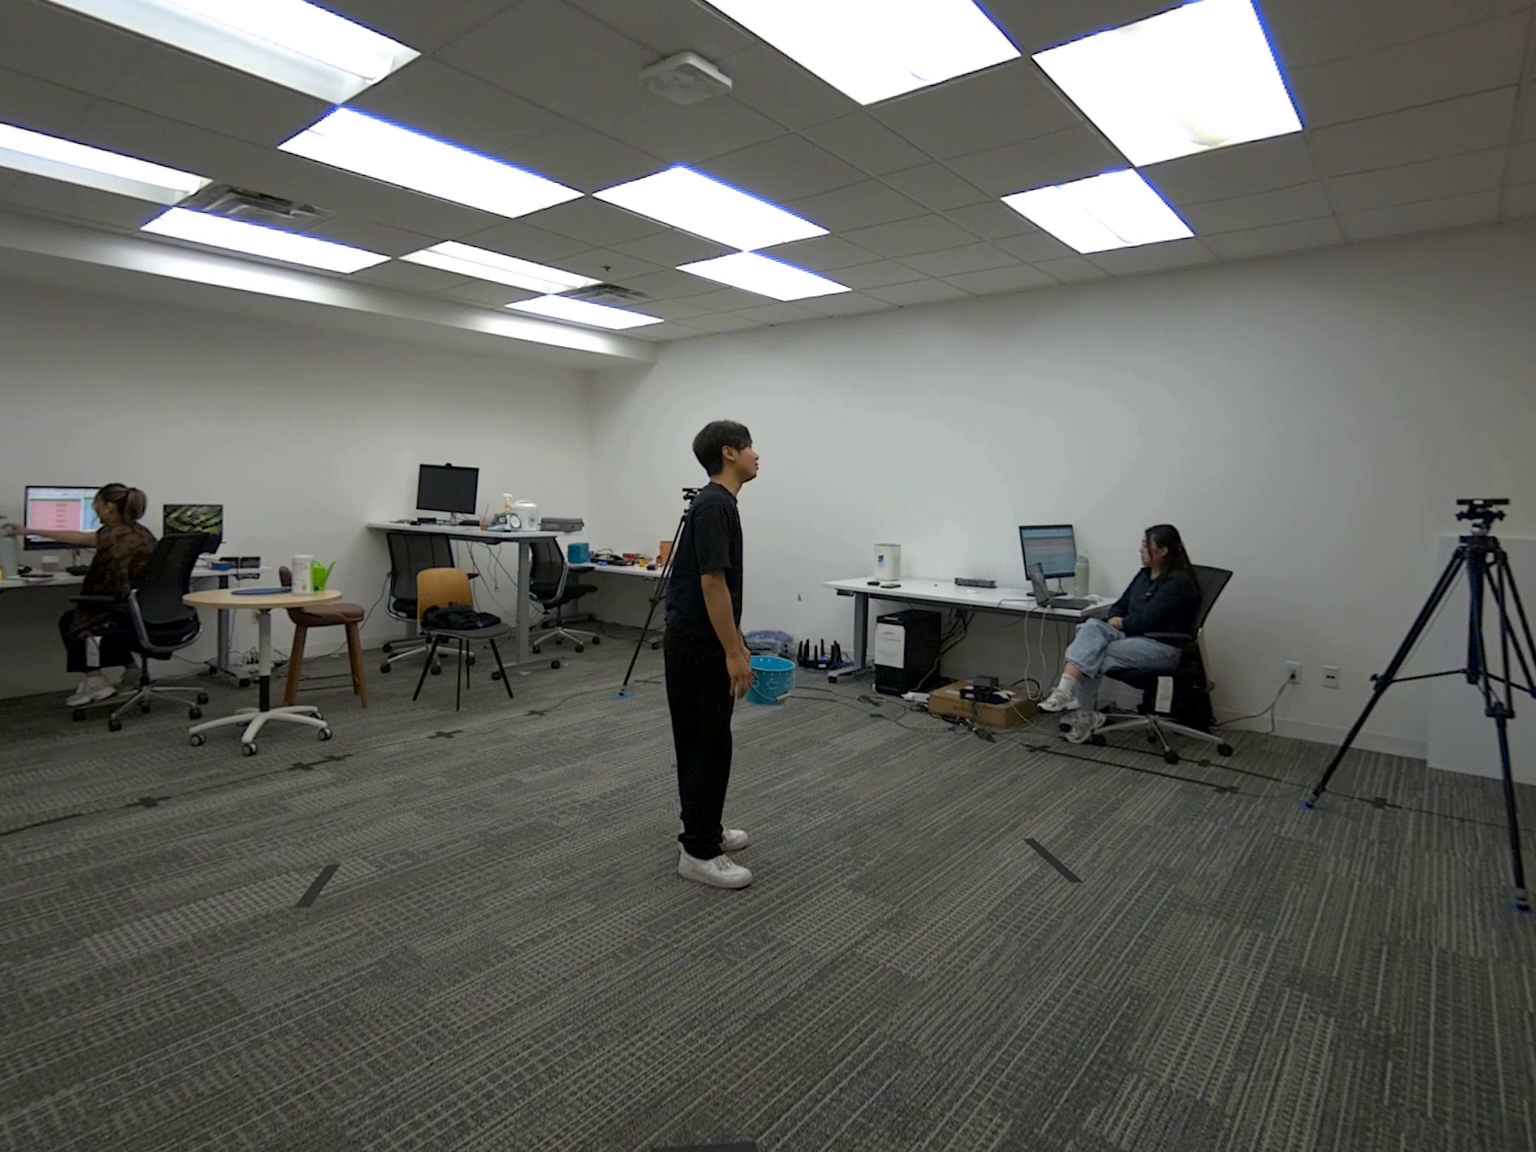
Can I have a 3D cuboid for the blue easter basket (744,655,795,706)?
[{"bbox_3d":[-0.017,0.431,3.489,0.243,0.155,0.245,3,7,-2],"label":"blue easter basket"}]
